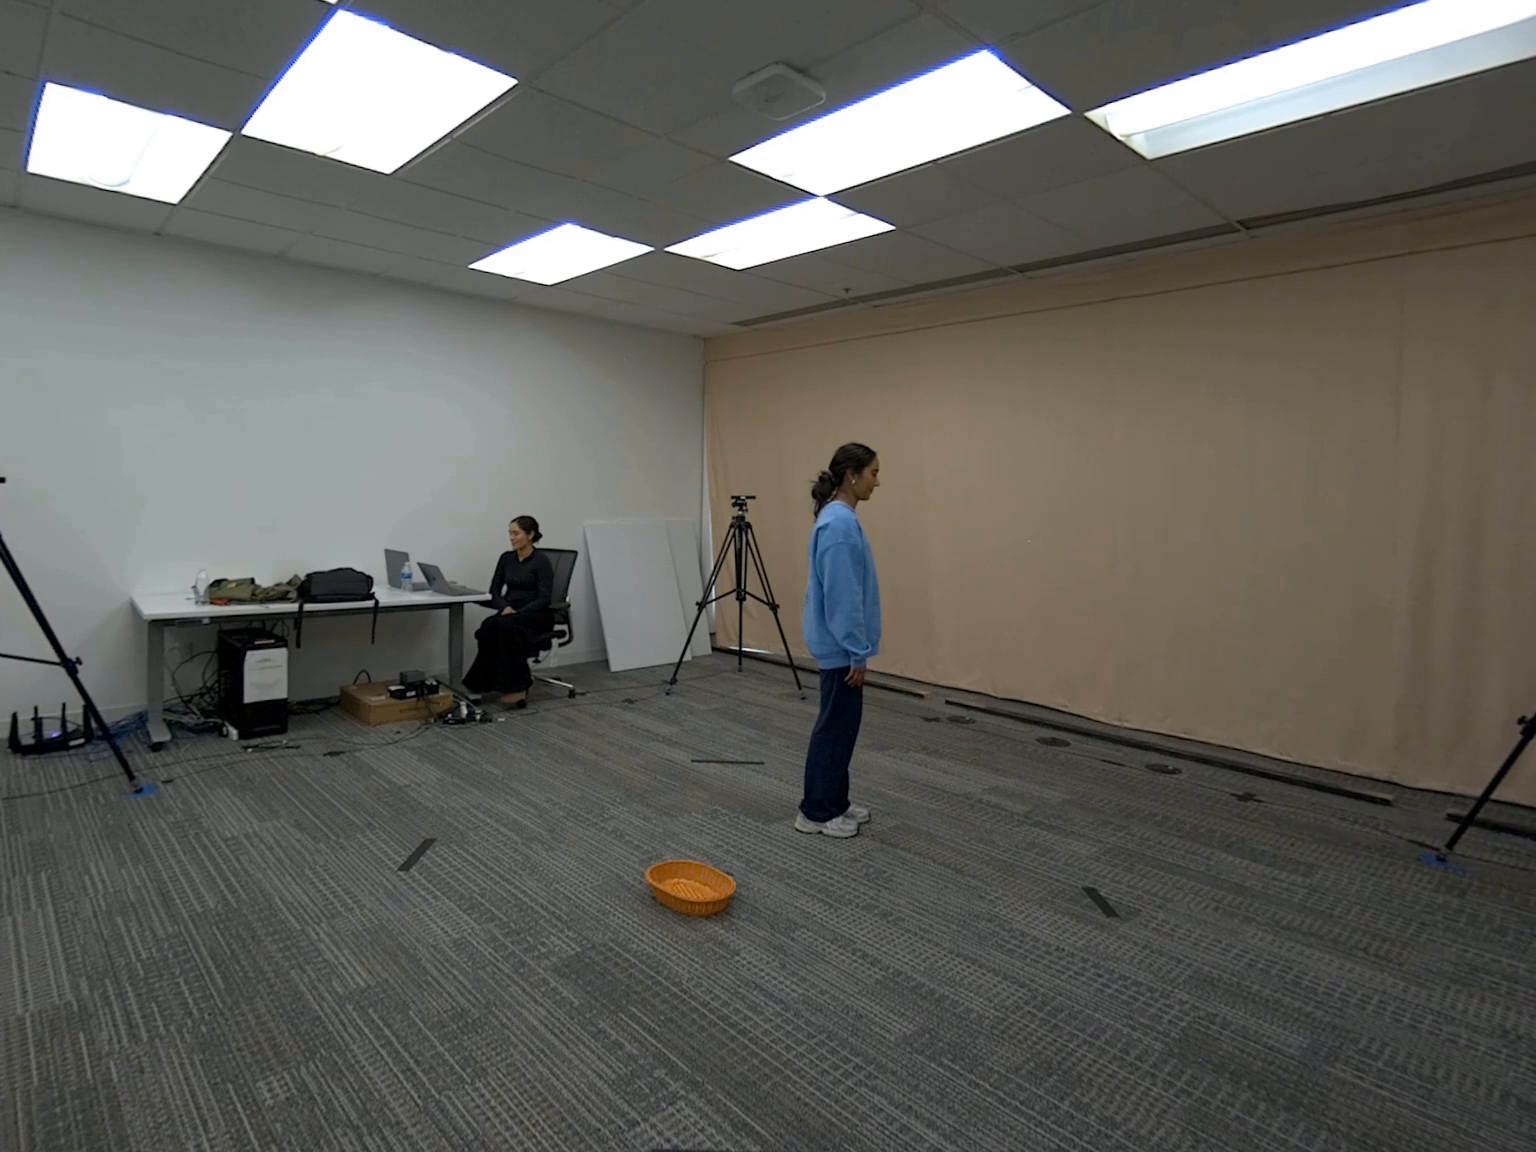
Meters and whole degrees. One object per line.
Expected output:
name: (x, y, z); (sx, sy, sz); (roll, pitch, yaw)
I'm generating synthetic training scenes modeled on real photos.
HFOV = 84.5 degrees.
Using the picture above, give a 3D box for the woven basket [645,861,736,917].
woven basket: (-0.274, 1.079, 2.911); (0.359, 0.073, 0.246); (5, 6, 45)
